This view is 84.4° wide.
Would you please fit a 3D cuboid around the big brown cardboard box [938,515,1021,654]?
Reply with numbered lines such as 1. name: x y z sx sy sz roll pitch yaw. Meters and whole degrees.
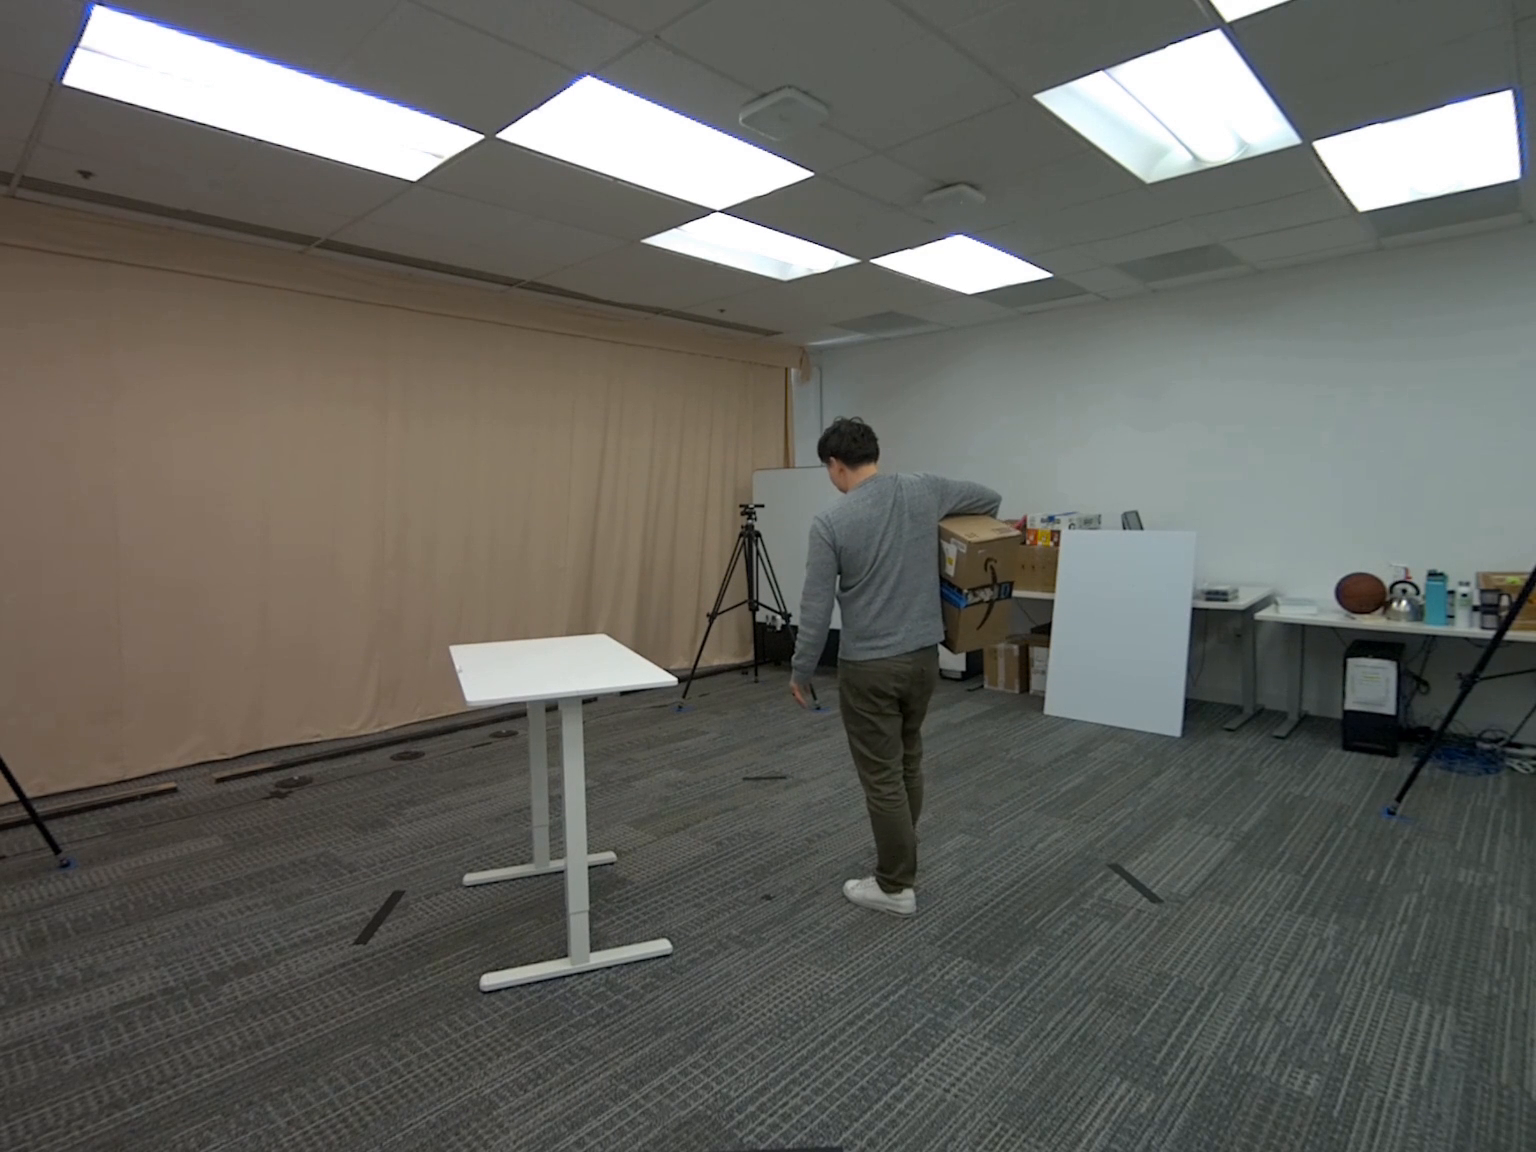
1. big brown cardboard box: 0.612 -0.036 3.030 0.229 0.412 0.608 -9 24 -22
